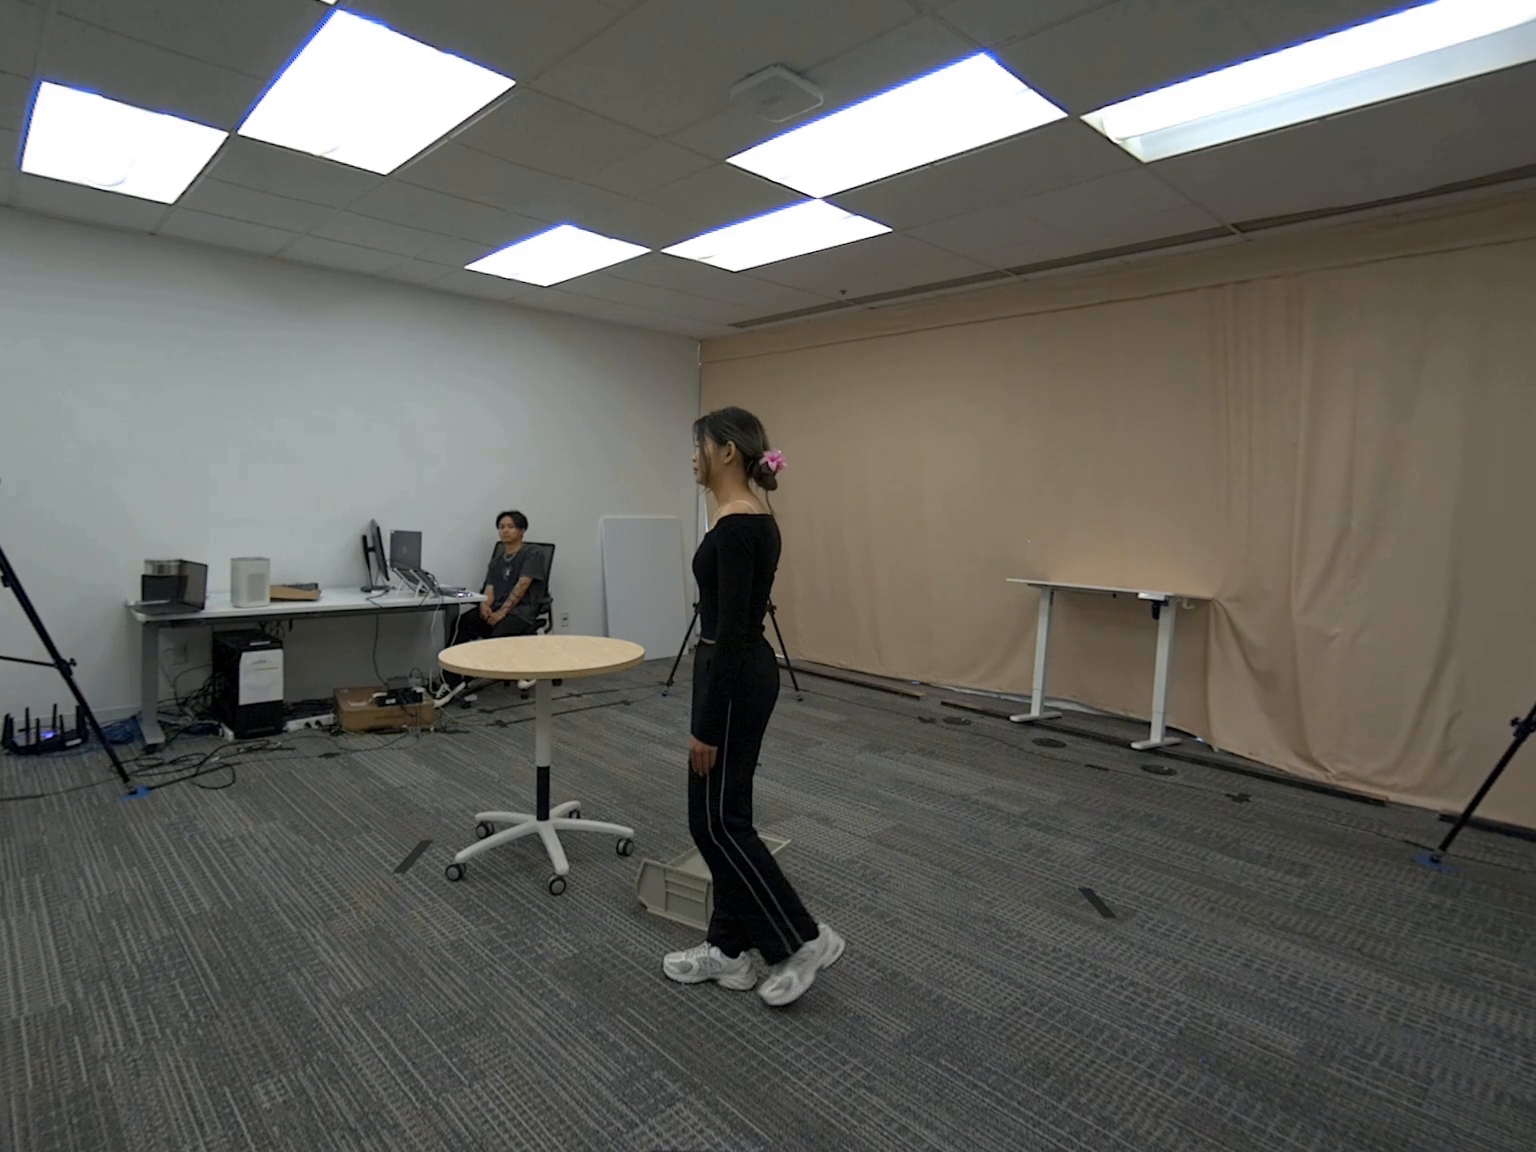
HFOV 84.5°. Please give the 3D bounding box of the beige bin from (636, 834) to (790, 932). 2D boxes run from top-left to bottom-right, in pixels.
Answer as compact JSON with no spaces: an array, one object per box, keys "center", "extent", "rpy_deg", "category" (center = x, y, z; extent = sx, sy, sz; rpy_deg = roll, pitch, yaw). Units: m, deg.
[{"center":[-0.189,1.035,2.920],"extent":[0.386,0.188,0.414],"rpy_deg":[5,6,30],"category":"beige bin"}]
